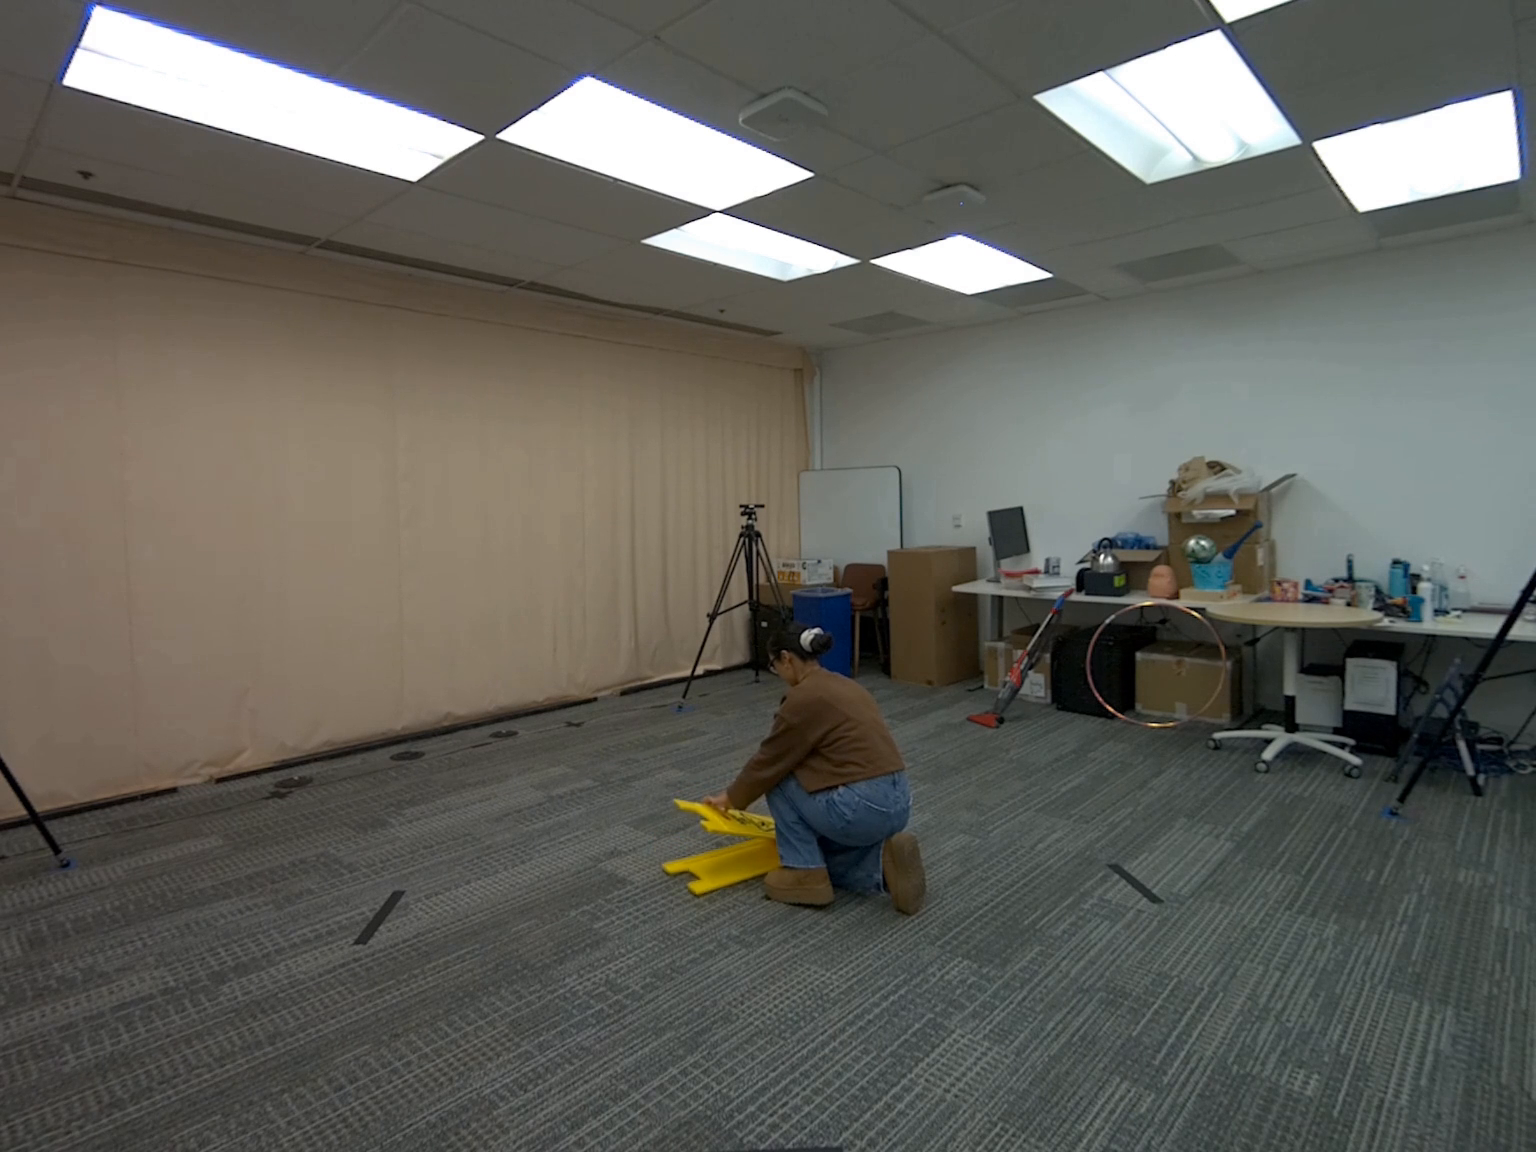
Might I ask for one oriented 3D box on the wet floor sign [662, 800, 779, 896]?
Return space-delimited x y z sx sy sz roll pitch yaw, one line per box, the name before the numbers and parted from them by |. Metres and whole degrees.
wet floor sign | -0.047 1.031 3.275 0.627 0.289 0.291 7 3 -32
